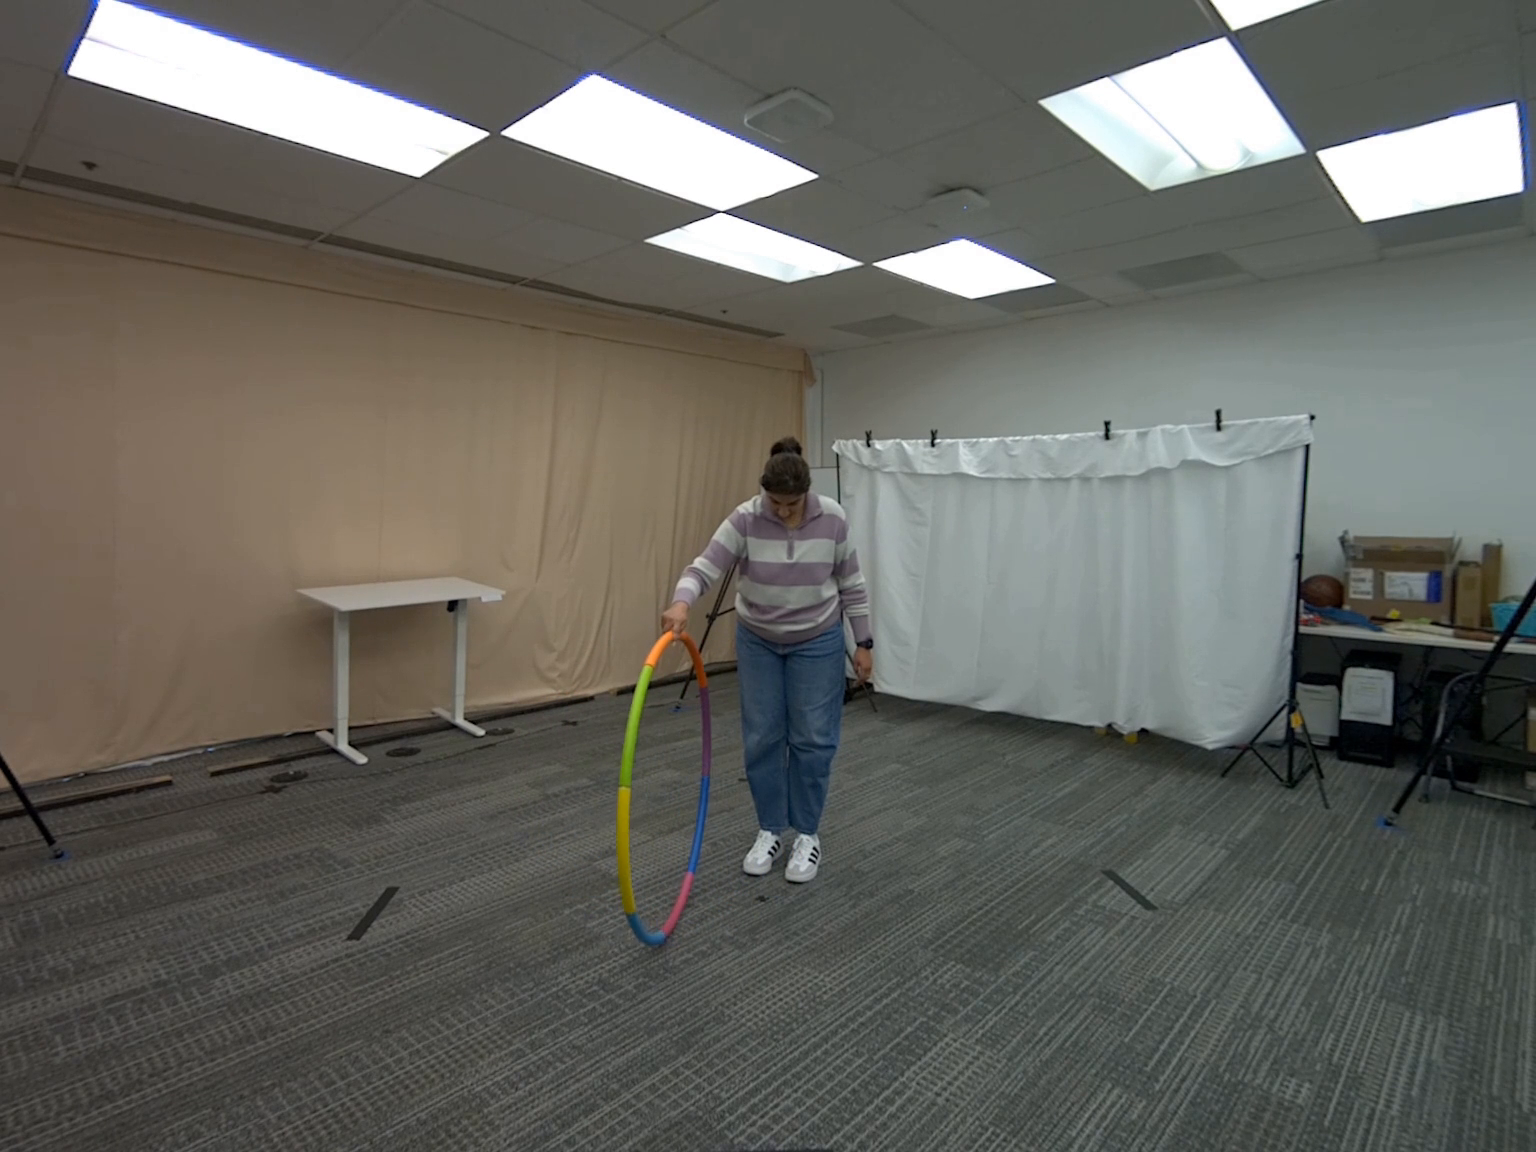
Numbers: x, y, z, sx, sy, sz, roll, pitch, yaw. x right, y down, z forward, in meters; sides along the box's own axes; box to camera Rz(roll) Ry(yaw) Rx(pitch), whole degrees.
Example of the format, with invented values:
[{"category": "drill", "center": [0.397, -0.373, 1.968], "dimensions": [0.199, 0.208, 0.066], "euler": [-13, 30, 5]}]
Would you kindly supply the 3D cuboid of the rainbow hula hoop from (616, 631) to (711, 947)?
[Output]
[{"category": "rainbow hula hoop", "center": [-0.310, 0.678, 2.767], "dimensions": [0.036, 0.976, 0.968], "euler": [1, 4, 10]}]
